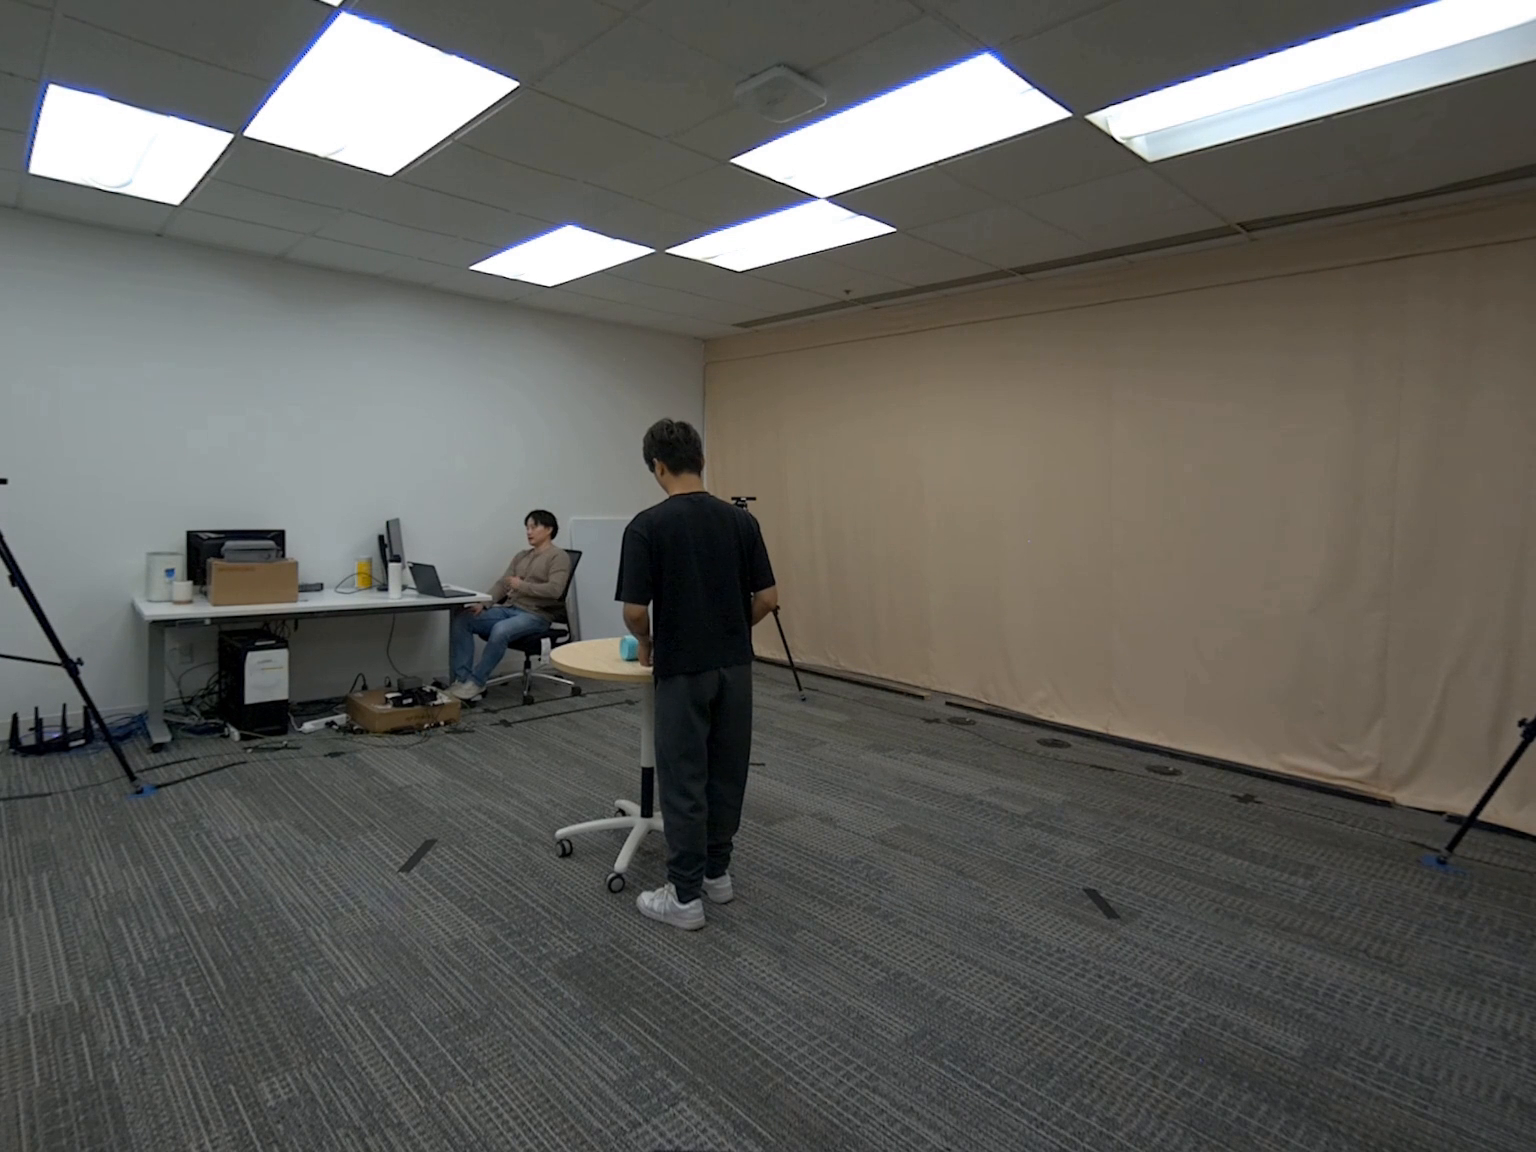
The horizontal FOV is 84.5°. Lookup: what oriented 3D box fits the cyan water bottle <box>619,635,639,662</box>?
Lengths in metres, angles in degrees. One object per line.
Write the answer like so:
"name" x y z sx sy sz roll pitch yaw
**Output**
"cyan water bottle" -0.415 0.265 3.188 0.278 0.092 0.094 -1 5 -29
